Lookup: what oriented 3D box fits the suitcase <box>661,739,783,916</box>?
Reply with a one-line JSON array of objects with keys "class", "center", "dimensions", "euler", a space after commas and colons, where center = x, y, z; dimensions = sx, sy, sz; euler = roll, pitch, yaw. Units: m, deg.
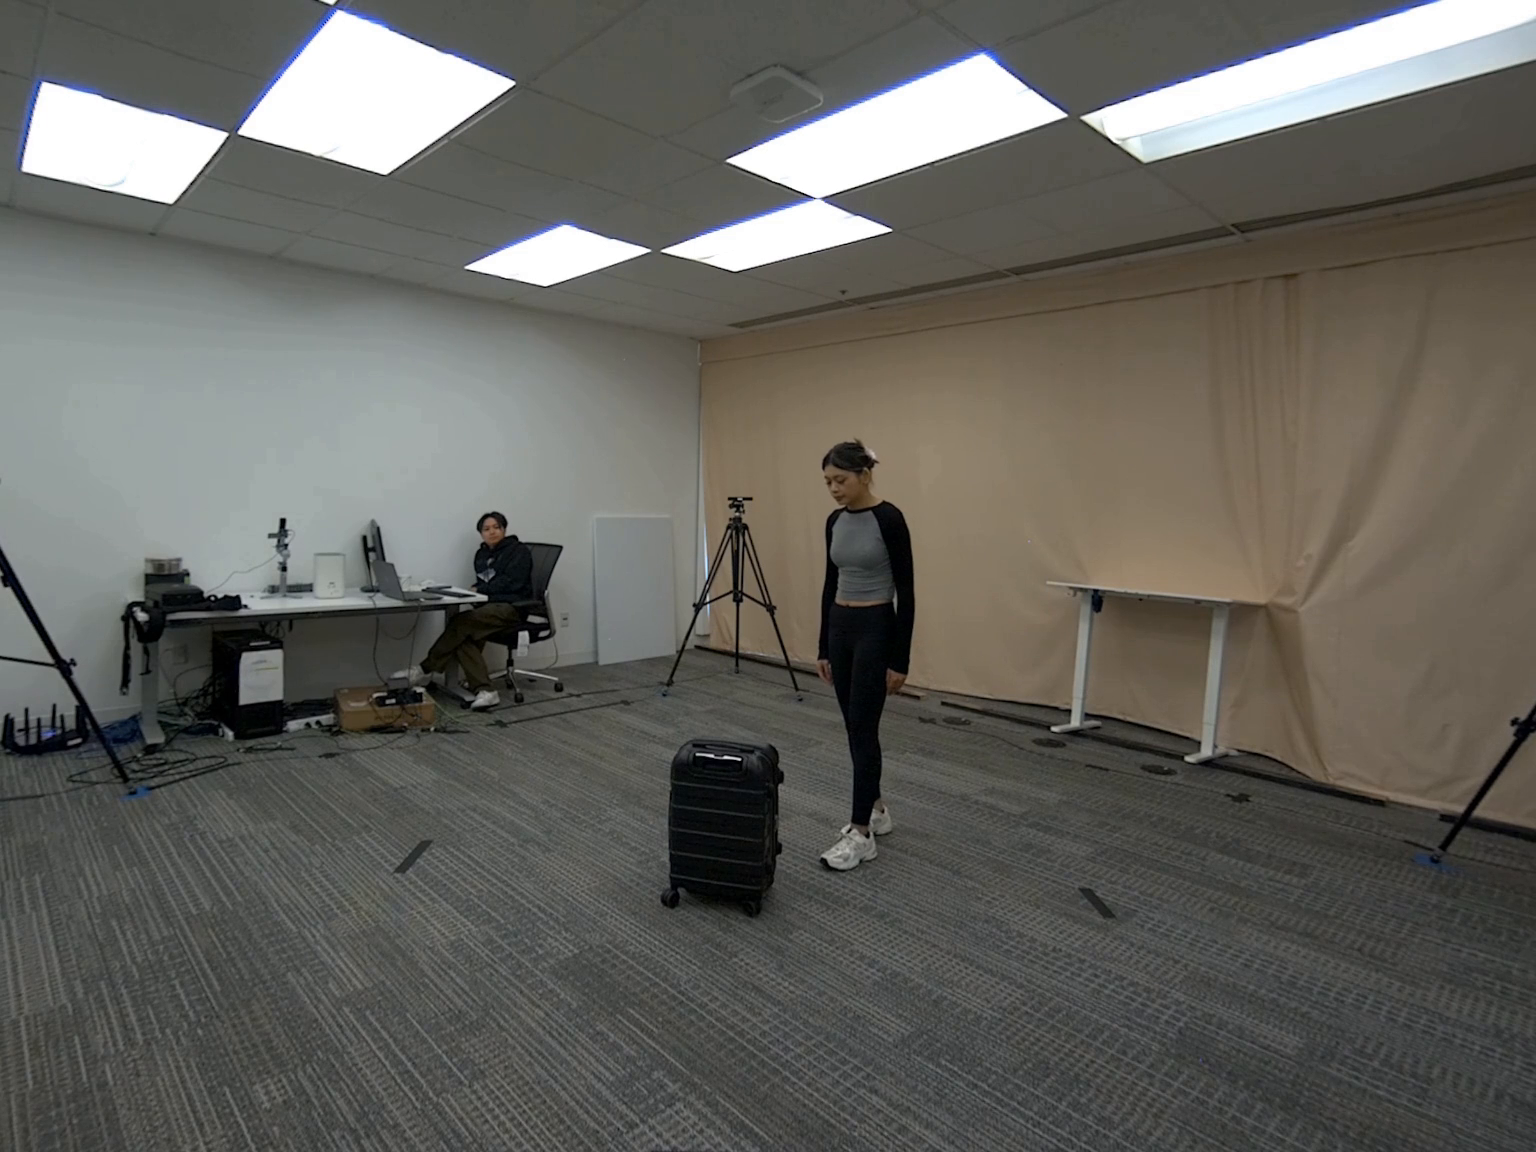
[{"class": "suitcase", "center": [-0.156, 0.846, 2.934], "dimensions": [0.380, 0.548, 0.246], "euler": [2, 3, 16]}]
